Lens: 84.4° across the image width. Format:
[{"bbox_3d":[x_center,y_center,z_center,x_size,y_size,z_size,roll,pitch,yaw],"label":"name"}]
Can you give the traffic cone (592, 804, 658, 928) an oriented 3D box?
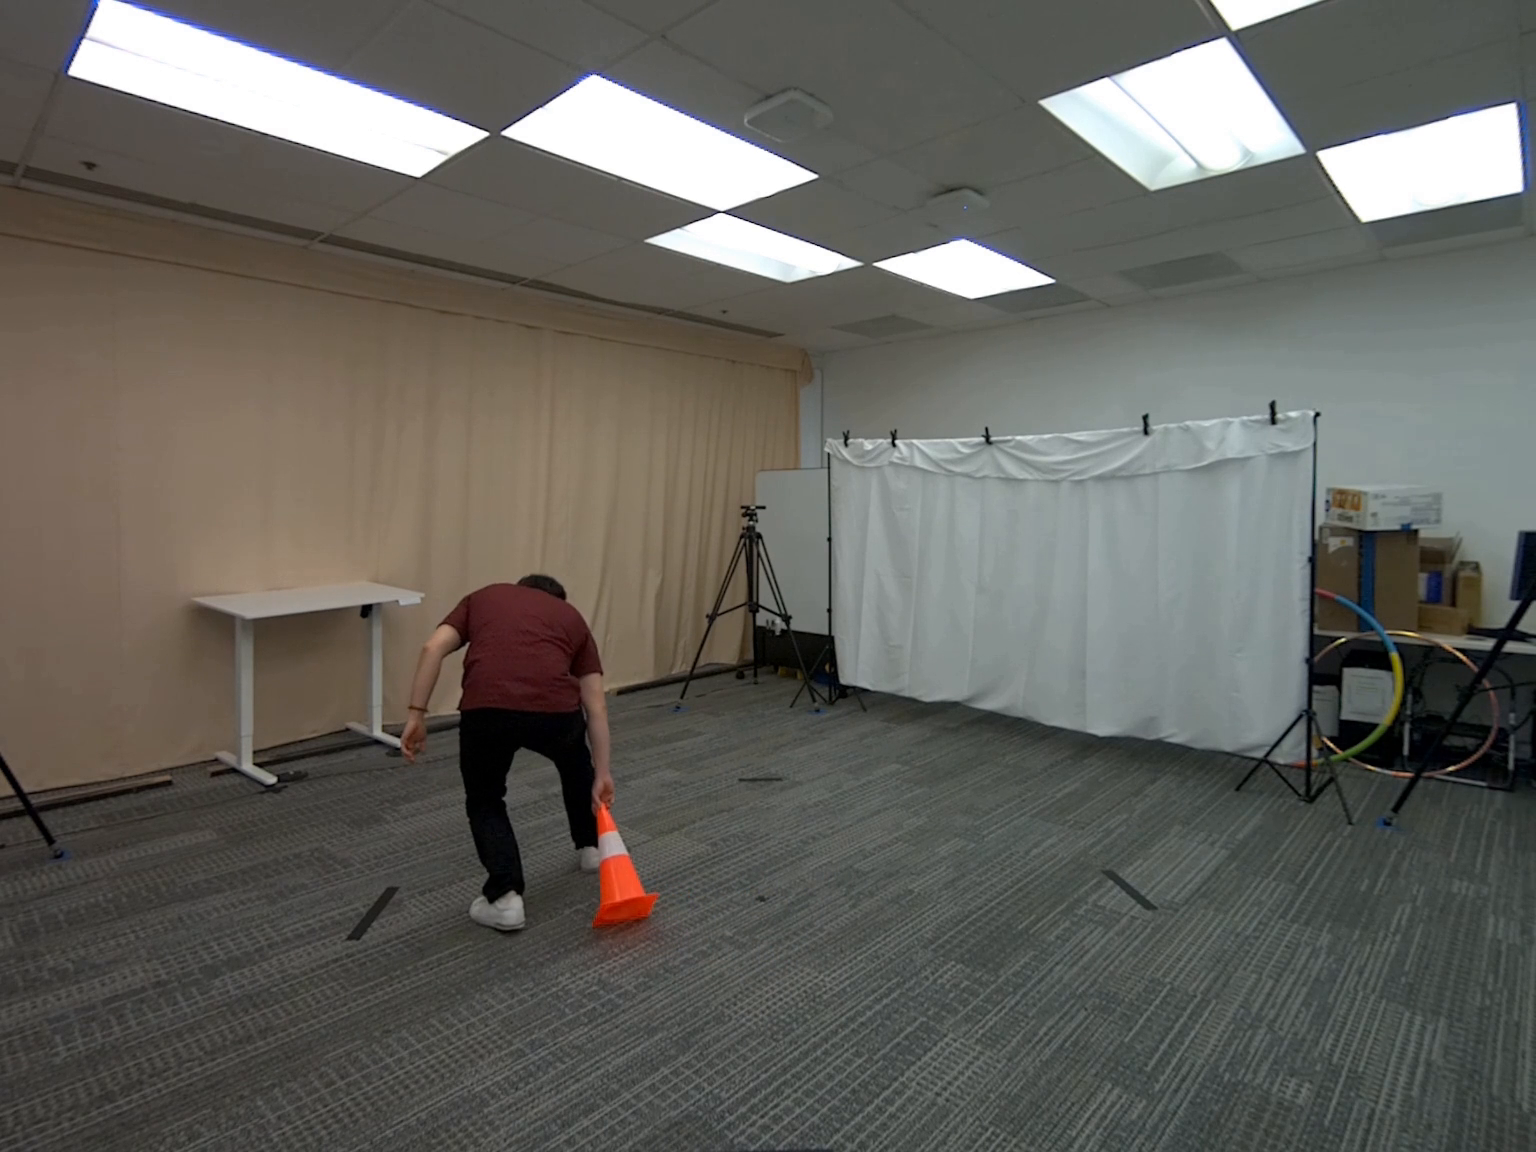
[{"bbox_3d":[-0.530,0.963,2.869,0.201,0.201,0.395,-6,49,-22],"label":"traffic cone"}]
